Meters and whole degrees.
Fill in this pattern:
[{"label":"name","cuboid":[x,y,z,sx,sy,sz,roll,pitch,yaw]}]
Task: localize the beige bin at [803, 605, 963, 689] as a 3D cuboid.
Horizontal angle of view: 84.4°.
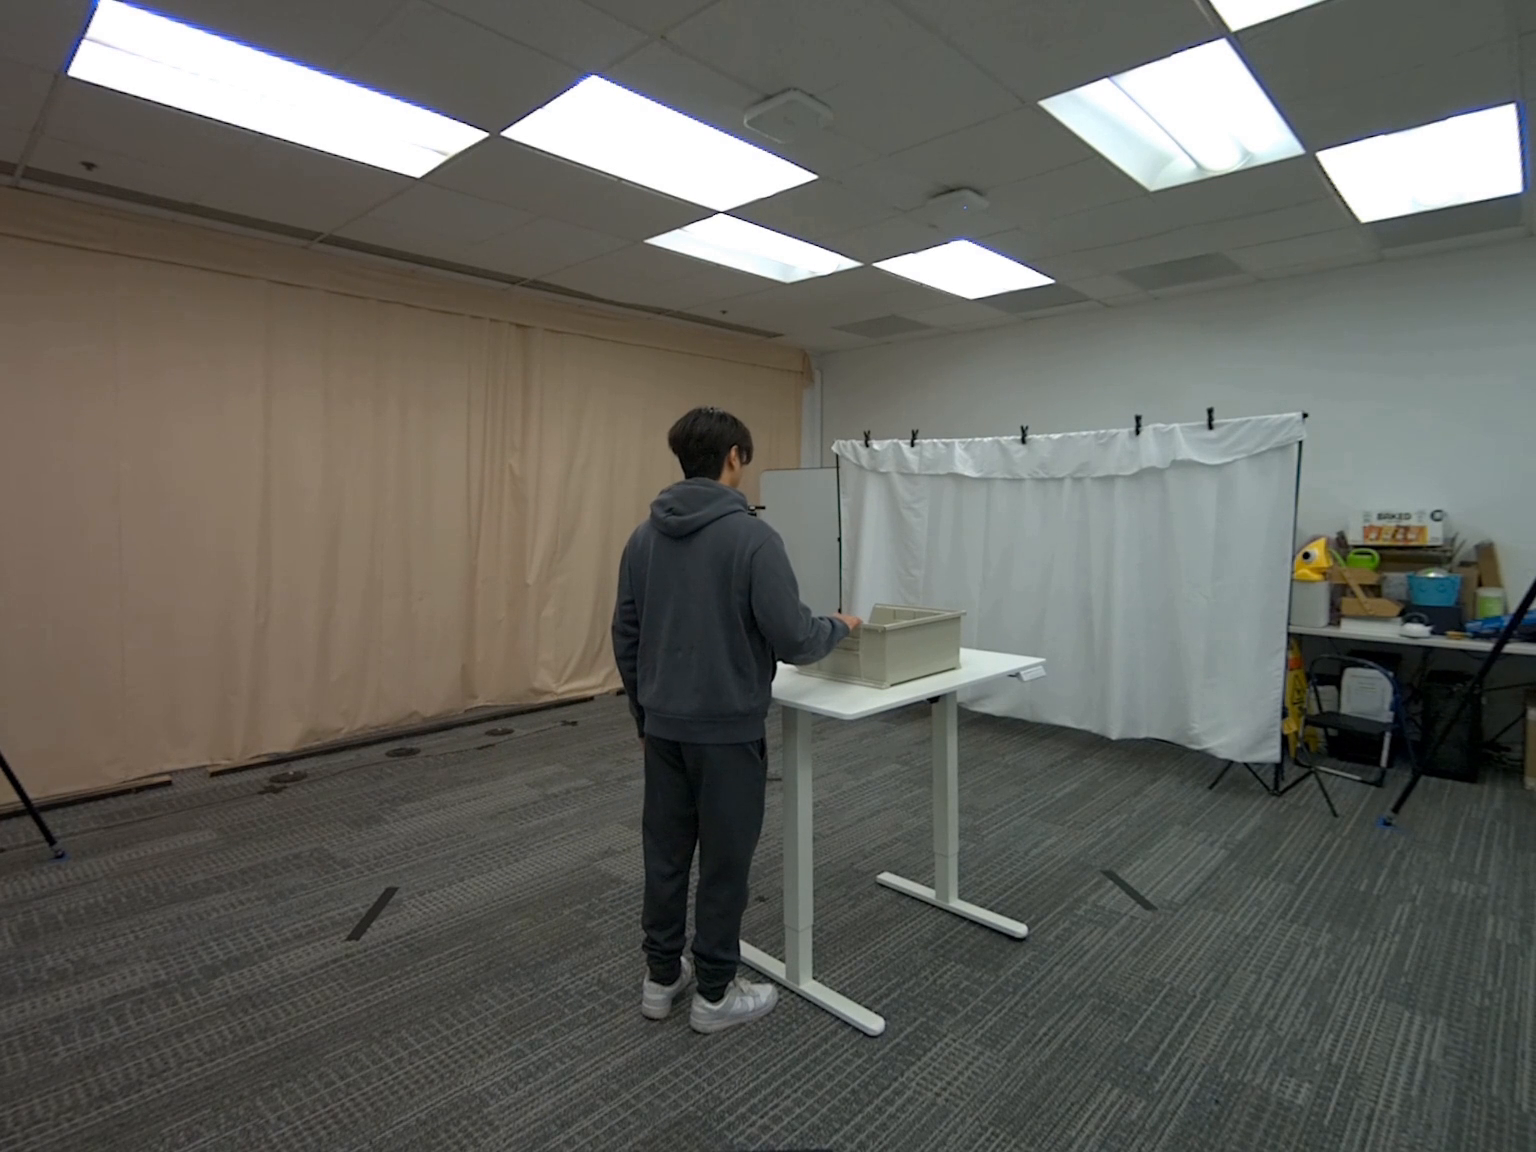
[{"label":"beige bin","cuboid":[0.336,0.203,2.591,0.409,0.188,0.390,-5,7,-44]}]
